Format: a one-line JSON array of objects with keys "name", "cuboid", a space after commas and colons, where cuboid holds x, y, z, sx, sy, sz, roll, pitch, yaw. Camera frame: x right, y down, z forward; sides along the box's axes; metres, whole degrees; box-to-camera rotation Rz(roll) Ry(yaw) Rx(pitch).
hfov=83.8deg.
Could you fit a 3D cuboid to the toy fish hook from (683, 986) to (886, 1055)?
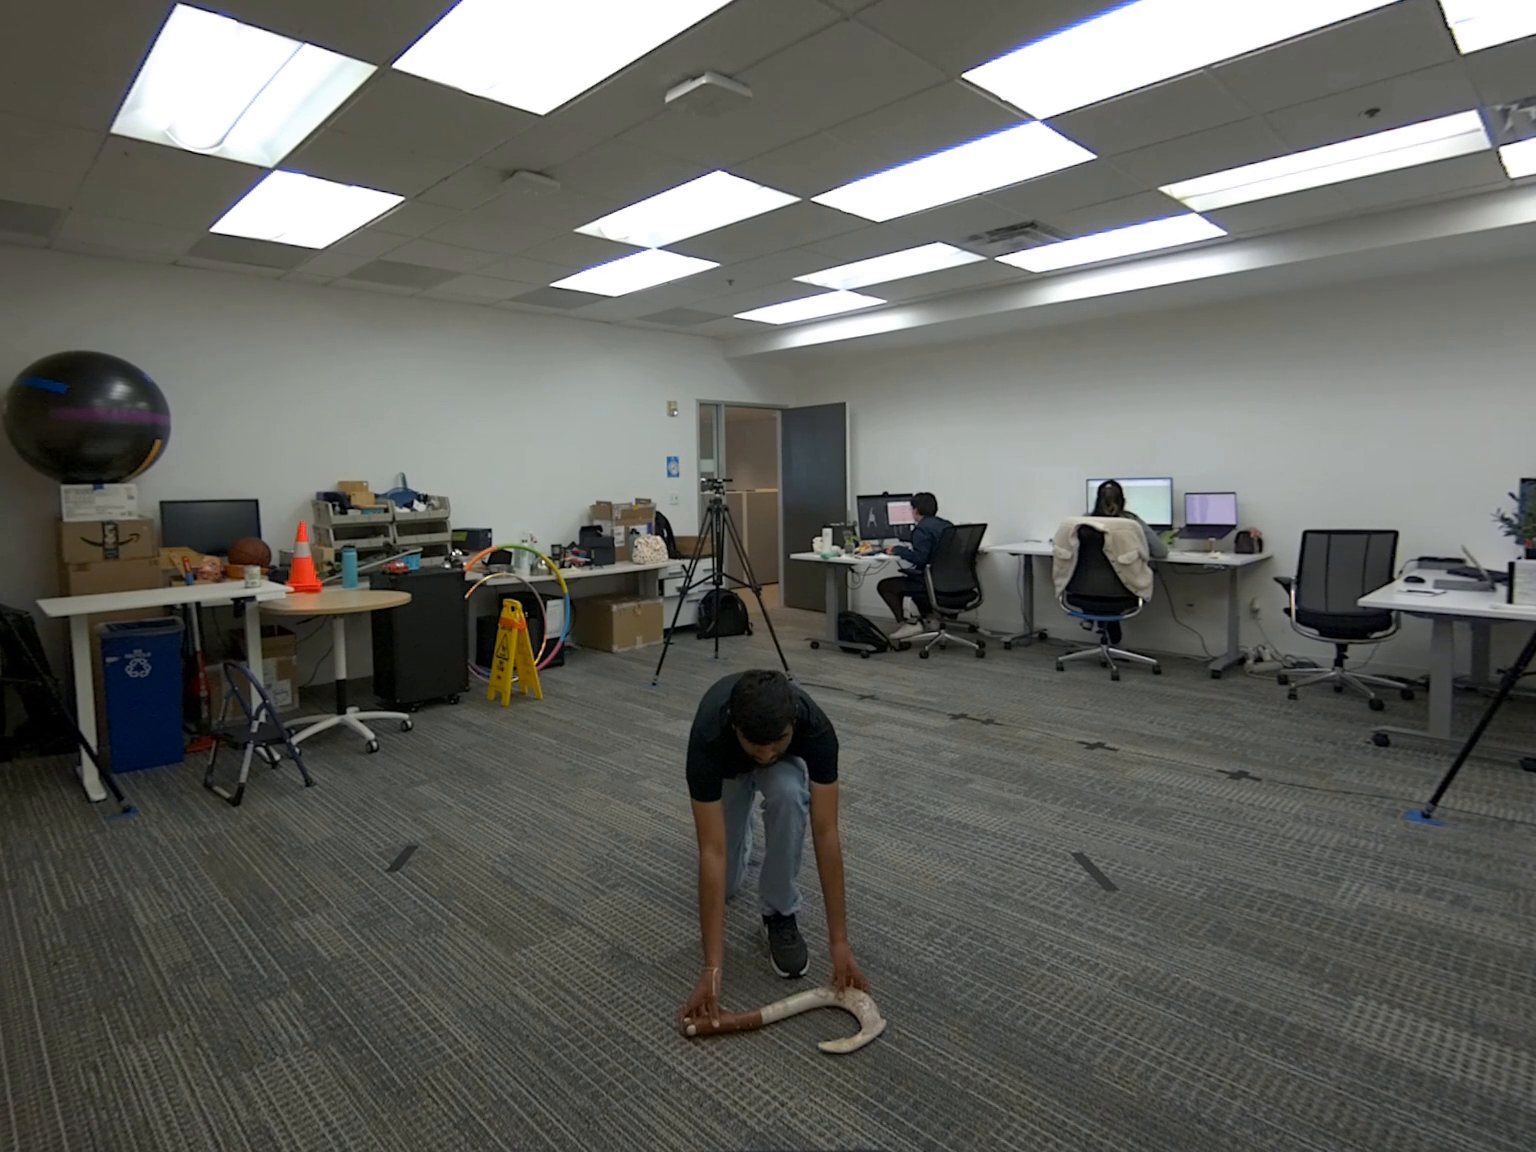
[{"name": "toy fish hook", "cuboid": [0.048, 1.130, 2.150, 0.500, 0.048, 0.228, -3, 5, -13]}]
